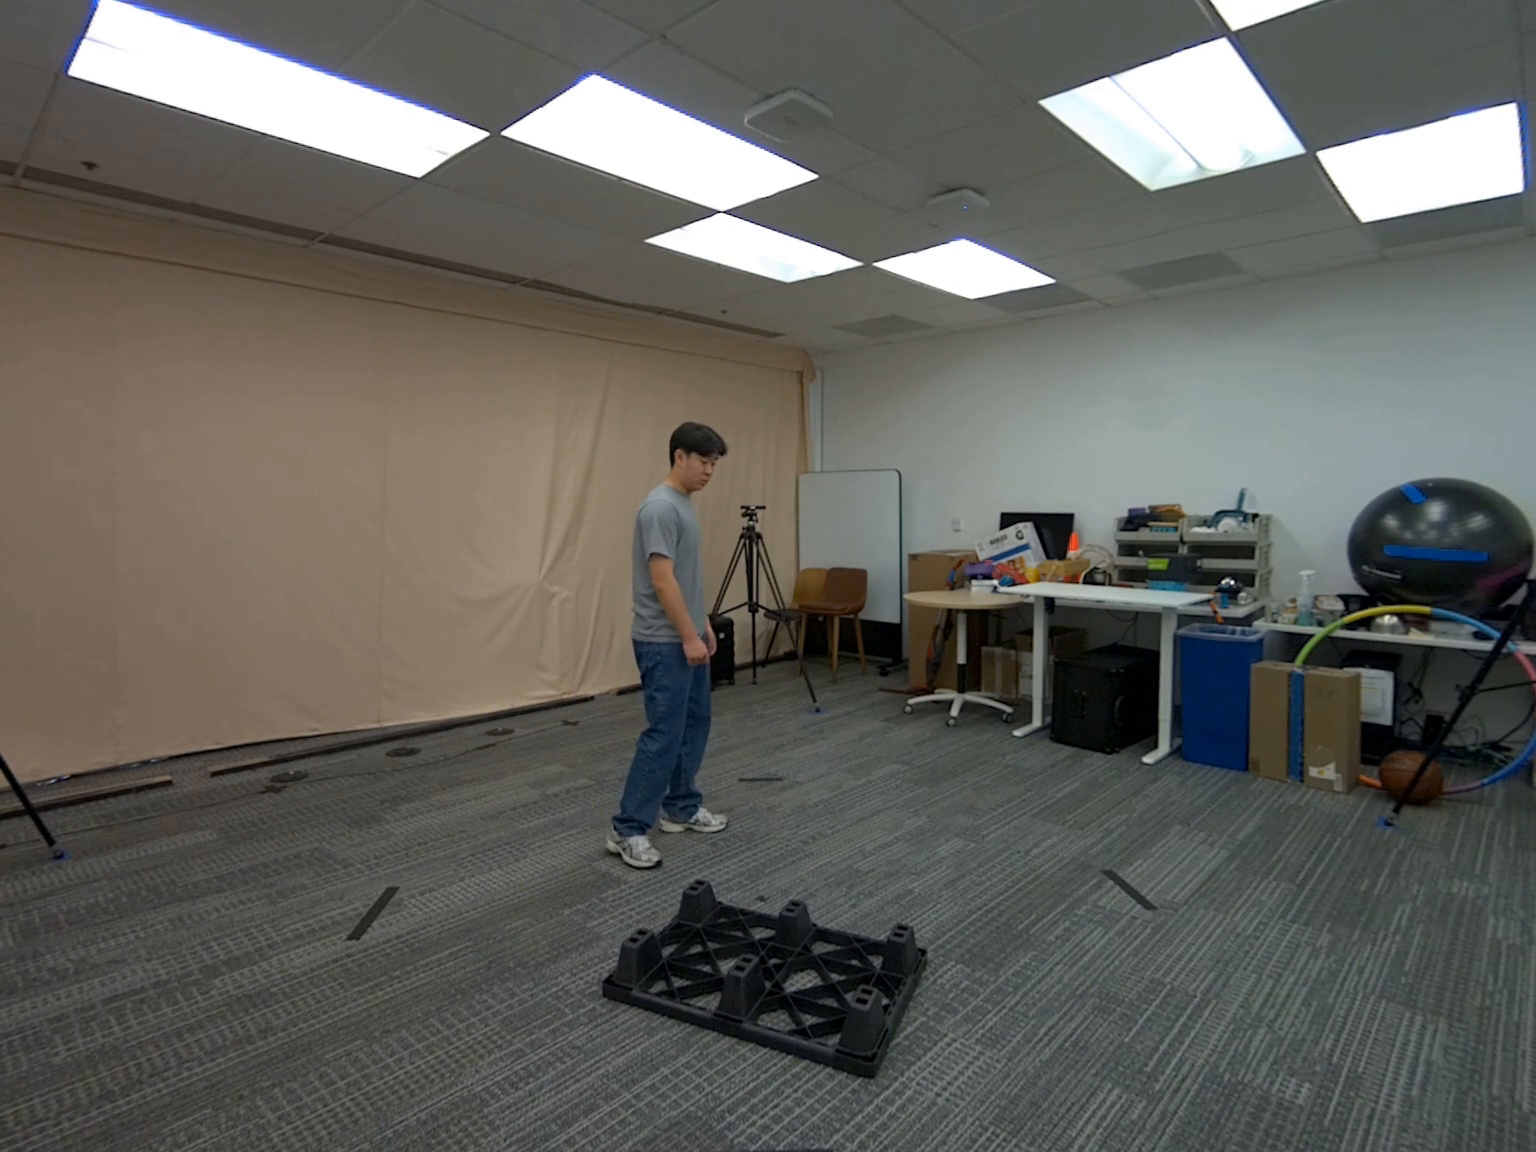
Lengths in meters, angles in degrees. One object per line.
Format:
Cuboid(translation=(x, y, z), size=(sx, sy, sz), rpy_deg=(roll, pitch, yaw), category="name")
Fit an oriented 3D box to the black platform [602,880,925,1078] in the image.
Cuboid(translation=(0.005, 1.119, 2.473), size=(0.826, 0.143, 0.591), rpy_deg=(2, 5, 25), category="black platform")
